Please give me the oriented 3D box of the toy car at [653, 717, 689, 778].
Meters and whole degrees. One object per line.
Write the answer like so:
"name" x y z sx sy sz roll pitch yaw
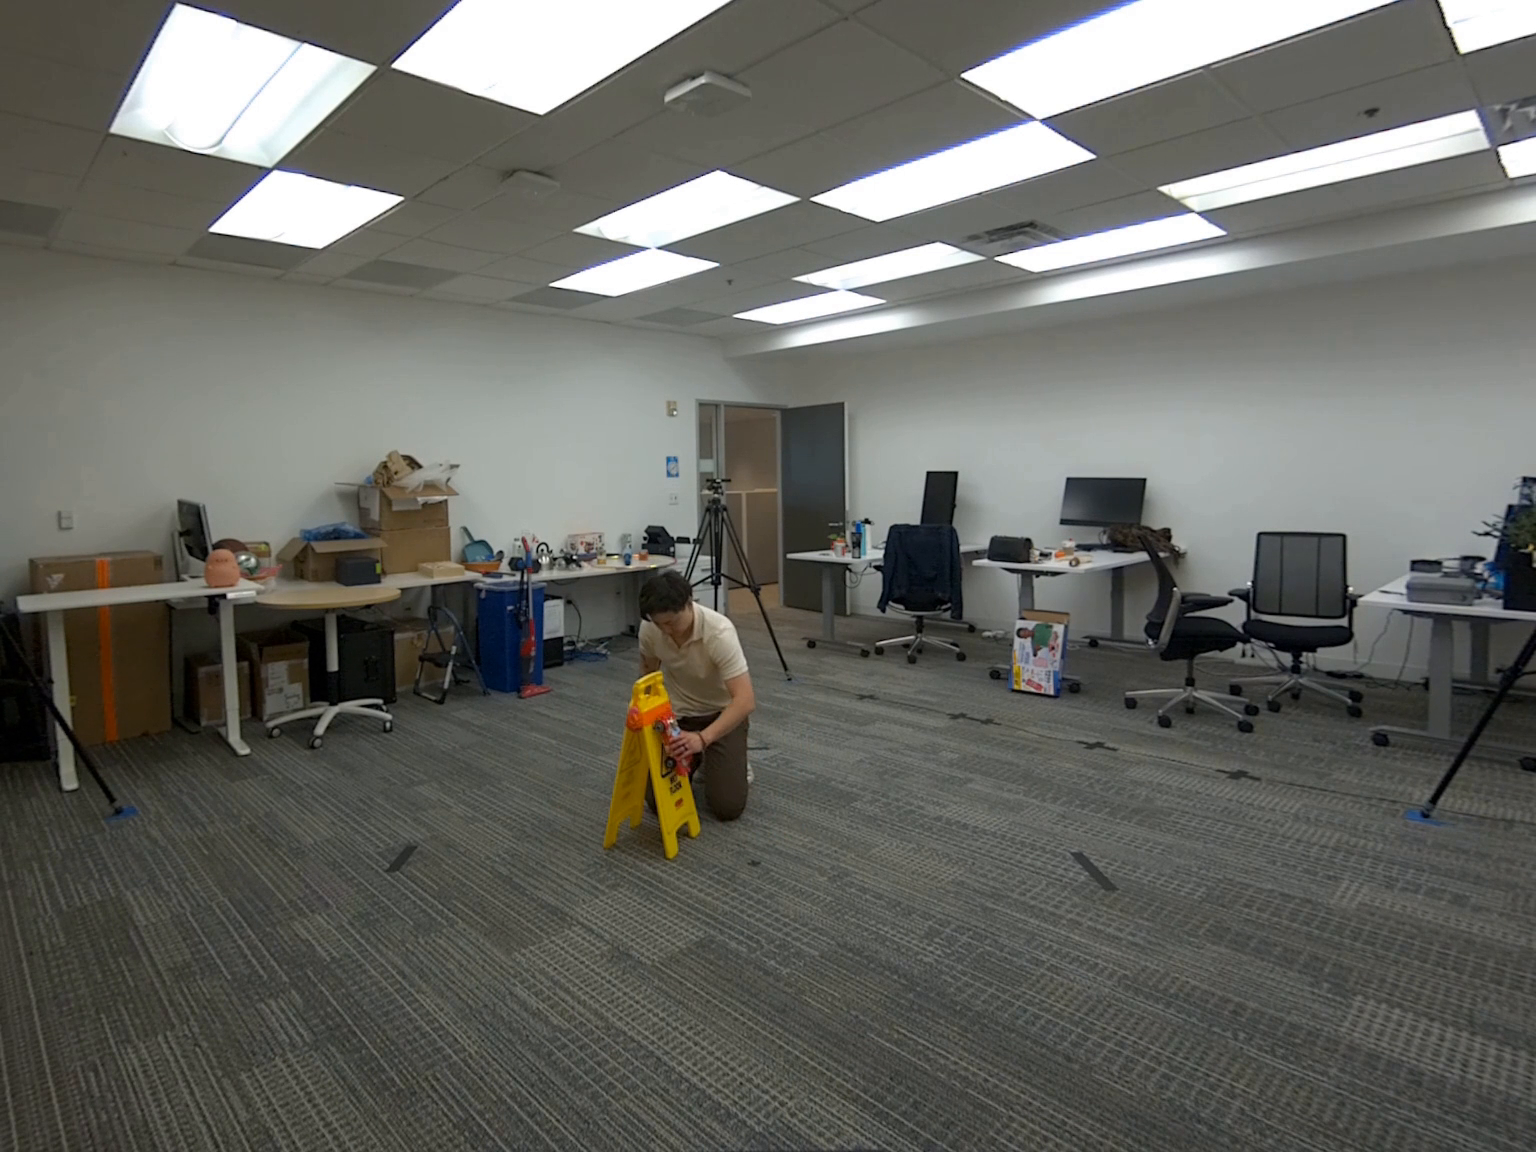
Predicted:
"toy car" -0.371 0.649 3.261 0.084 0.254 0.129 -24 3 18
